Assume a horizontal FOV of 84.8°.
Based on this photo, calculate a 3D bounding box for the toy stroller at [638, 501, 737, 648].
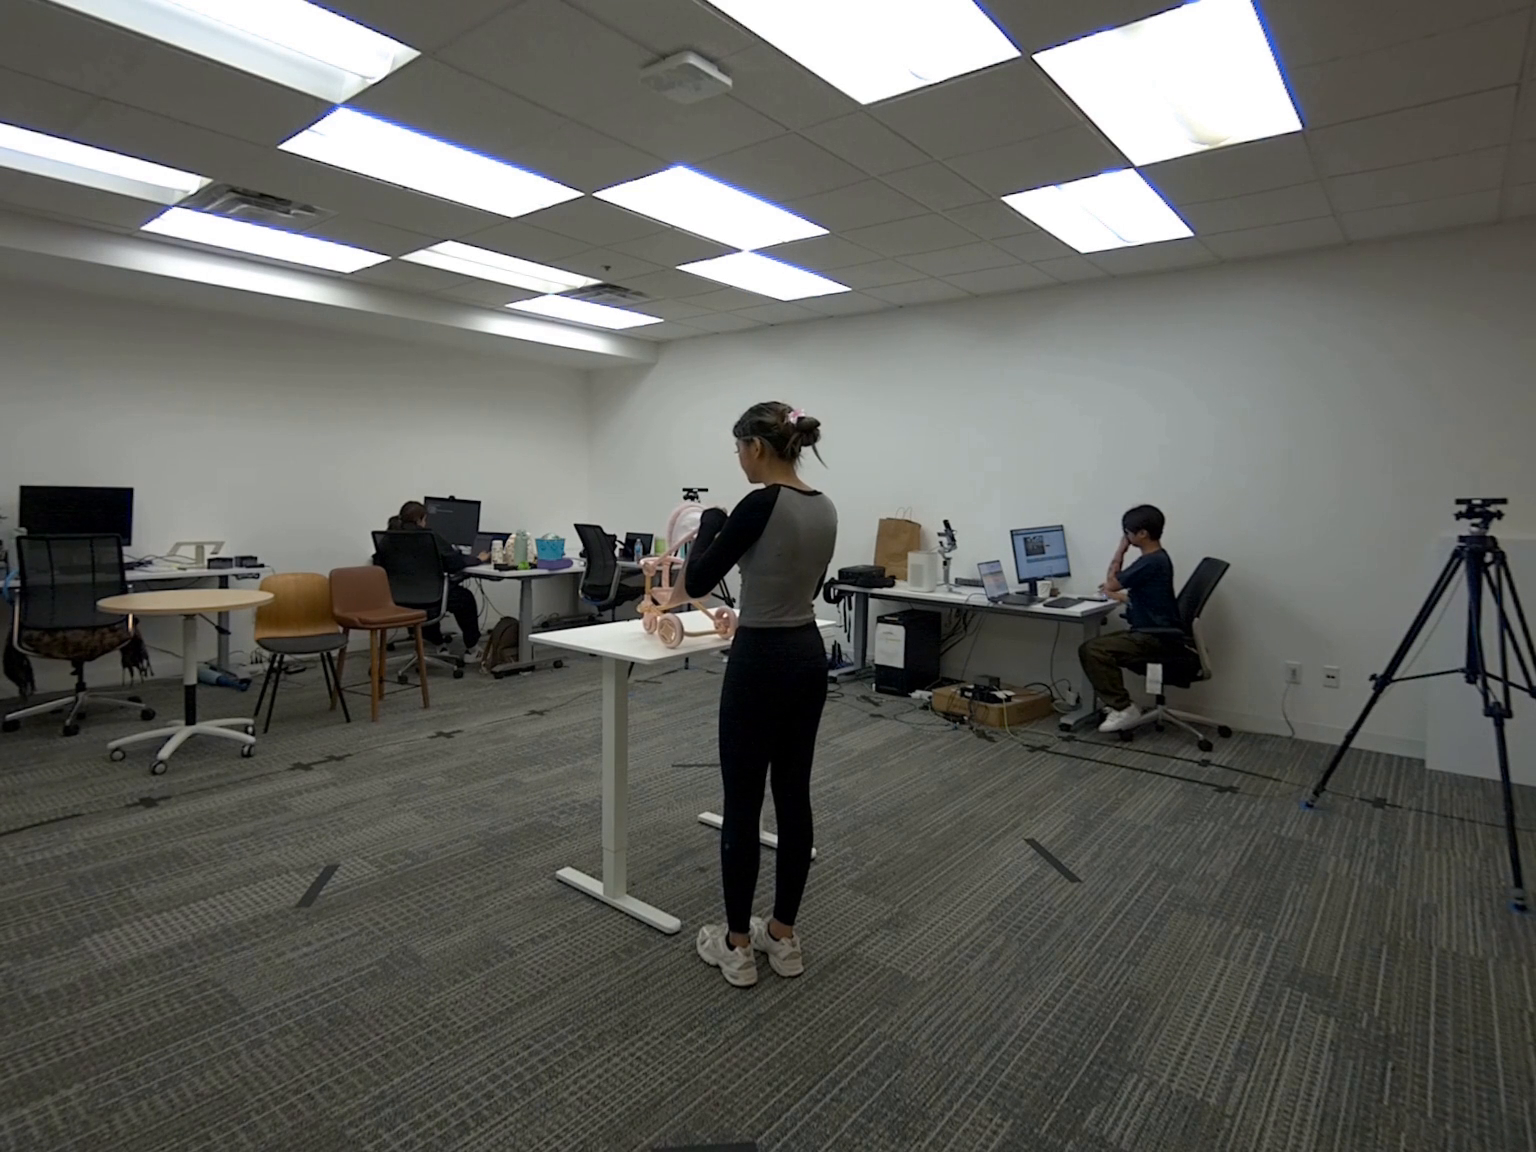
[{"bbox_3d":[-0.279,-0.010,2.818,0.273,0.529,0.356,-2,20,-42],"label":"toy stroller"}]
